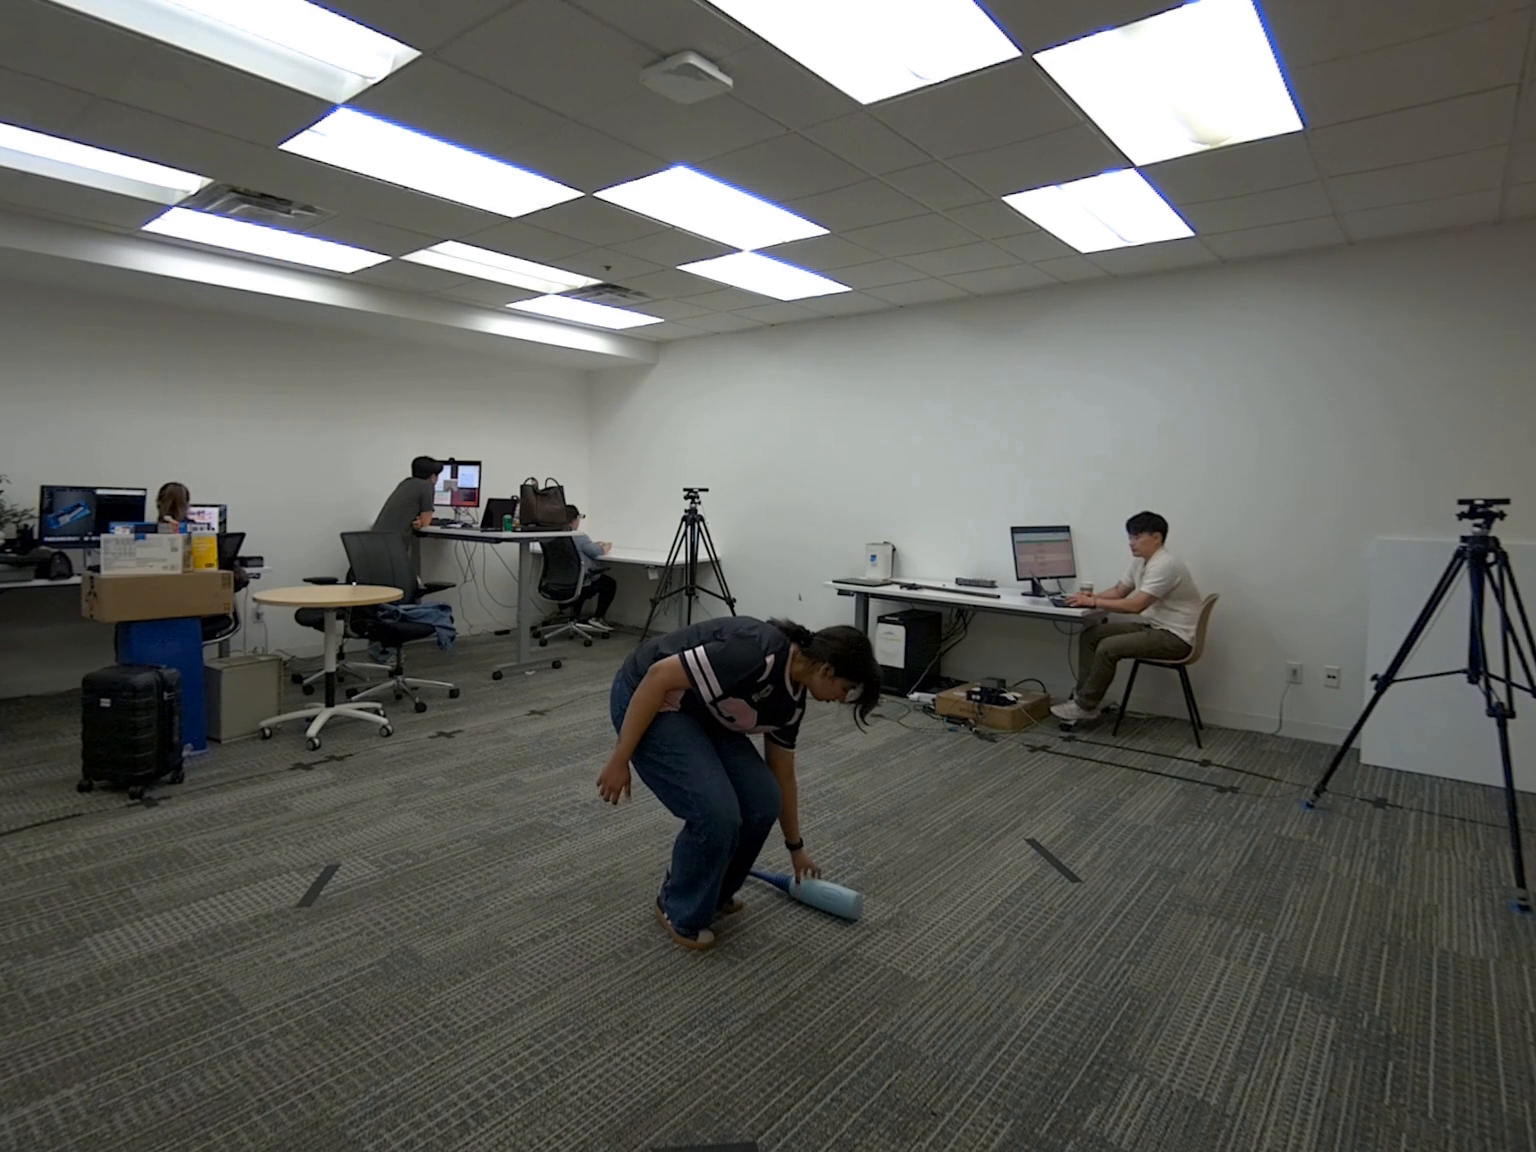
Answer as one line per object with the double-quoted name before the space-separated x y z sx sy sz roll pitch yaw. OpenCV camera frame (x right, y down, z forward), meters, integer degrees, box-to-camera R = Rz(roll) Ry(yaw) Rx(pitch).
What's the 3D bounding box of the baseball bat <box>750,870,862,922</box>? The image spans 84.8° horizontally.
"baseball bat" 0.067 1.054 2.913 0.560 0.089 0.086 2 4 38
